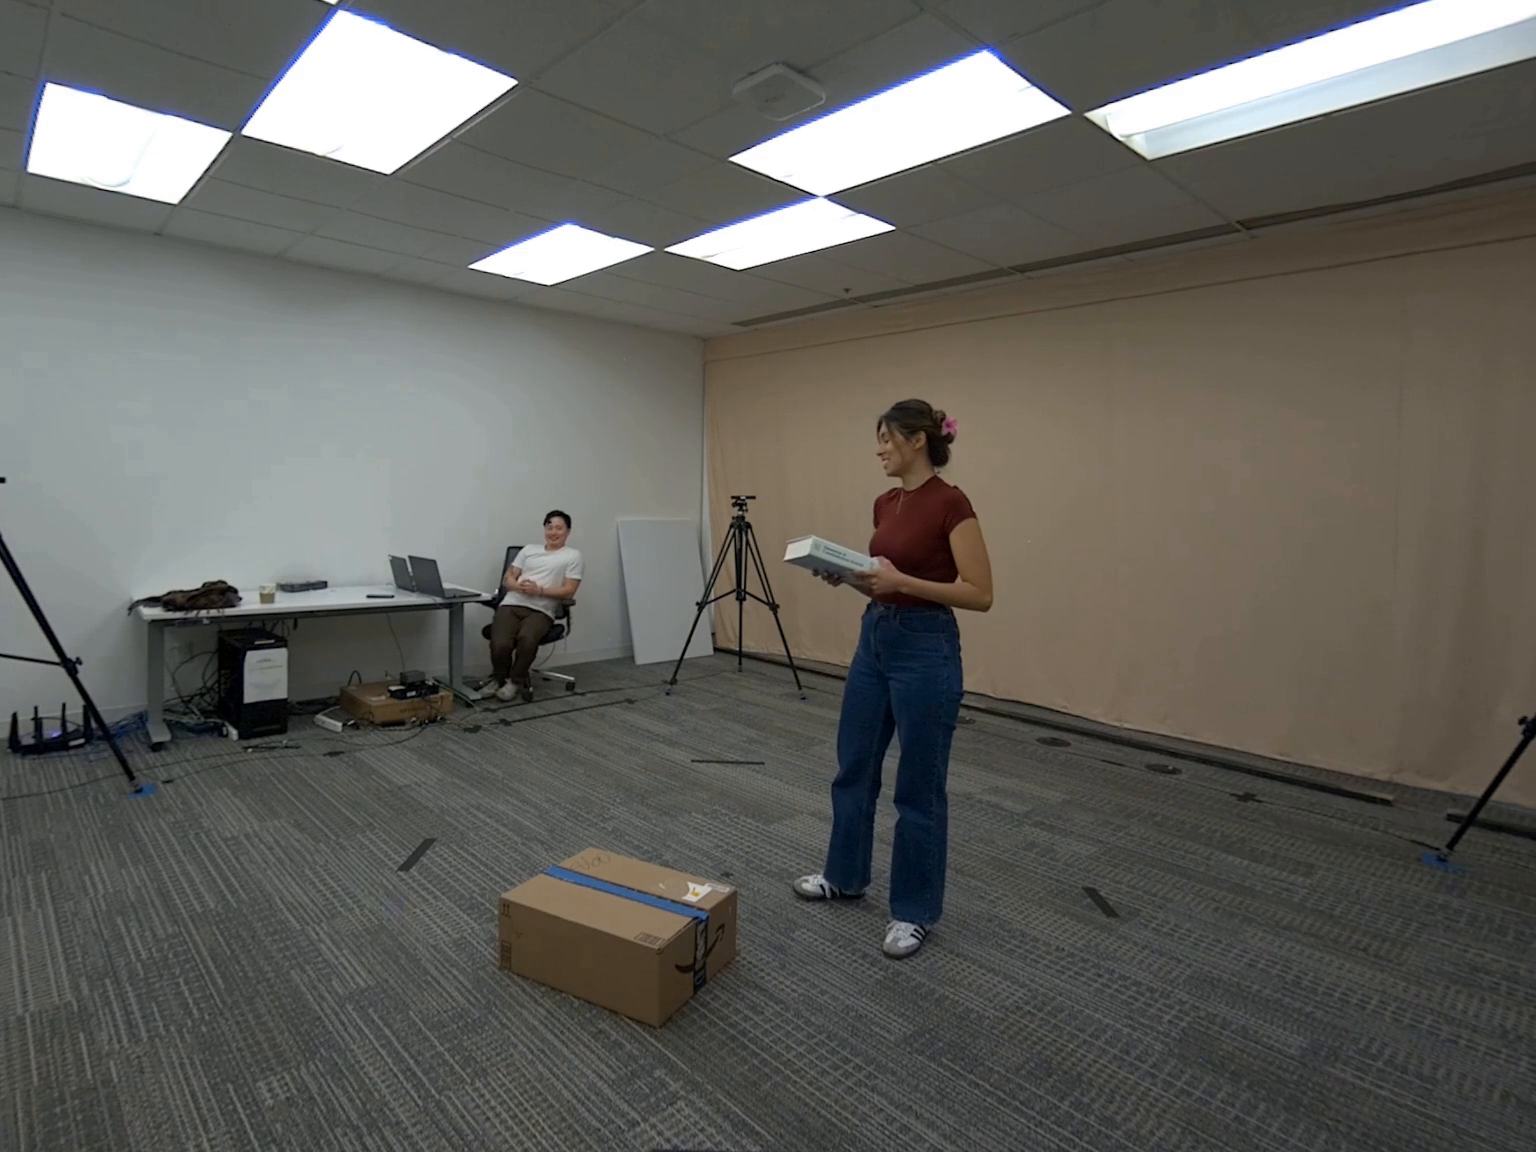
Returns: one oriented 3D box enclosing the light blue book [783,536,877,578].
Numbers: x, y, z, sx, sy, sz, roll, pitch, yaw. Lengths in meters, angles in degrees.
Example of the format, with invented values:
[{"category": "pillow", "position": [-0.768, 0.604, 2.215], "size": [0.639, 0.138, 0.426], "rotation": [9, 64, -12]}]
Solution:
[{"category": "light blue book", "position": [0.192, -0.047, 2.544], "size": [0.256, 0.059, 0.193], "rotation": [19, -12, -19]}]
